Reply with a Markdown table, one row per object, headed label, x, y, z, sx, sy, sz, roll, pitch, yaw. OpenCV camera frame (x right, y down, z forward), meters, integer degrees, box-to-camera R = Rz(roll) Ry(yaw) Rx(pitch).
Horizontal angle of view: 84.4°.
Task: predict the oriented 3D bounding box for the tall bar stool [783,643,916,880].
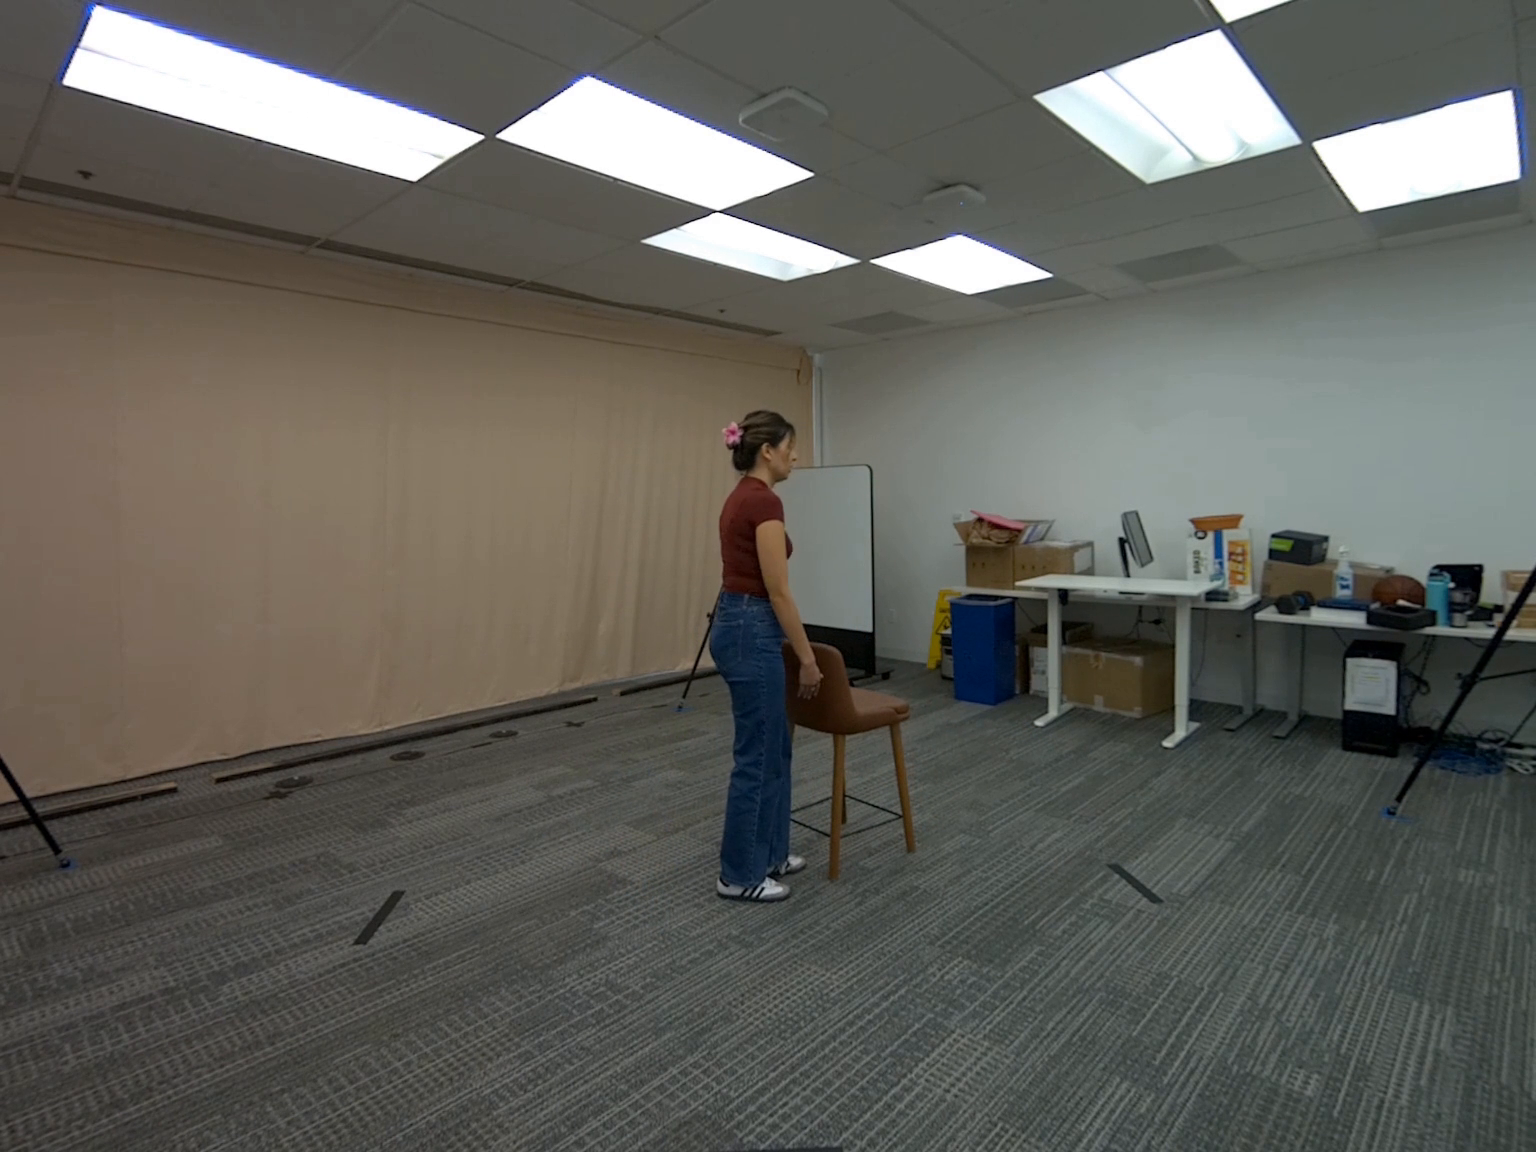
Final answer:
| label | x | y | z | sx | sy | sz | roll | pitch | yaw |
| --- | --- | --- | --- | --- | --- | --- | --- | --- | --- |
| tall bar stool | 0.282 | 0.666 | 3.359 | 0.454 | 0.887 | 0.471 | -6 | 6 | -38 |
